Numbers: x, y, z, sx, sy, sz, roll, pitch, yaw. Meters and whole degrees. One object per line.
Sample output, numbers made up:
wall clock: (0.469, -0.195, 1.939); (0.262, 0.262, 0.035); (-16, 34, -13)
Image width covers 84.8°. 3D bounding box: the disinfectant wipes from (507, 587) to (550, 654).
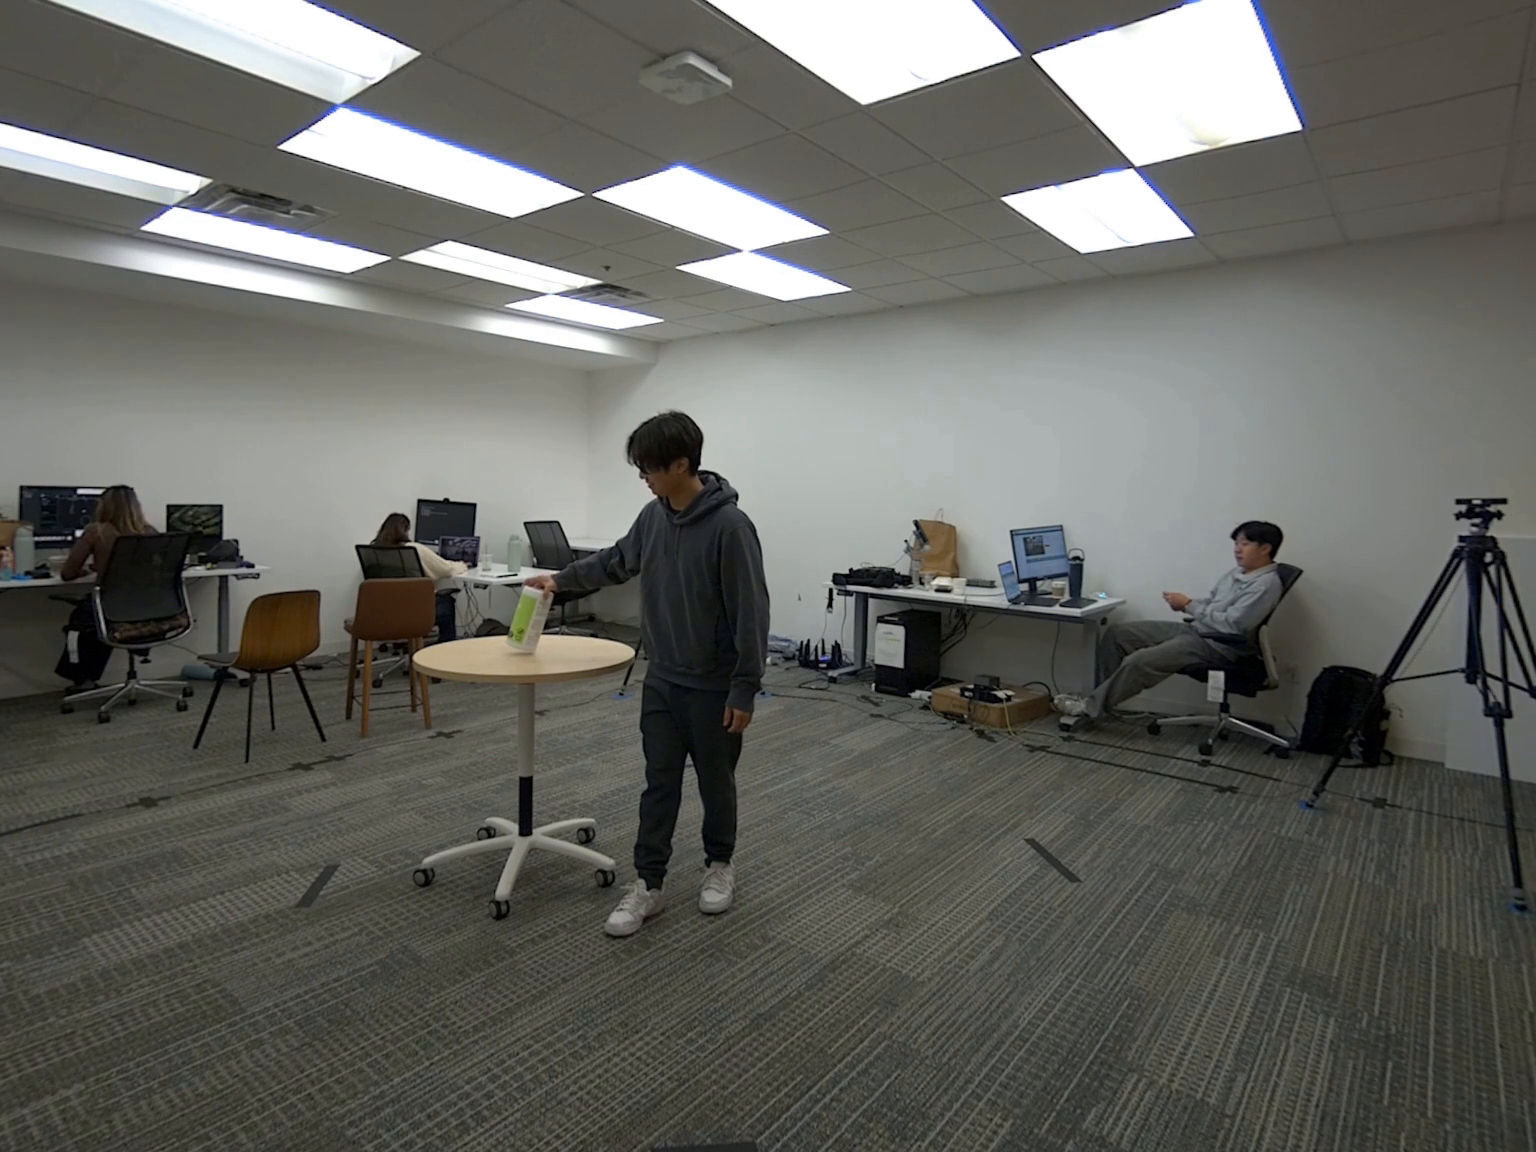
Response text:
disinfectant wipes: (-0.855, 0.149, 3.005); (0.117, 0.217, 0.118); (16, 1, -2)
